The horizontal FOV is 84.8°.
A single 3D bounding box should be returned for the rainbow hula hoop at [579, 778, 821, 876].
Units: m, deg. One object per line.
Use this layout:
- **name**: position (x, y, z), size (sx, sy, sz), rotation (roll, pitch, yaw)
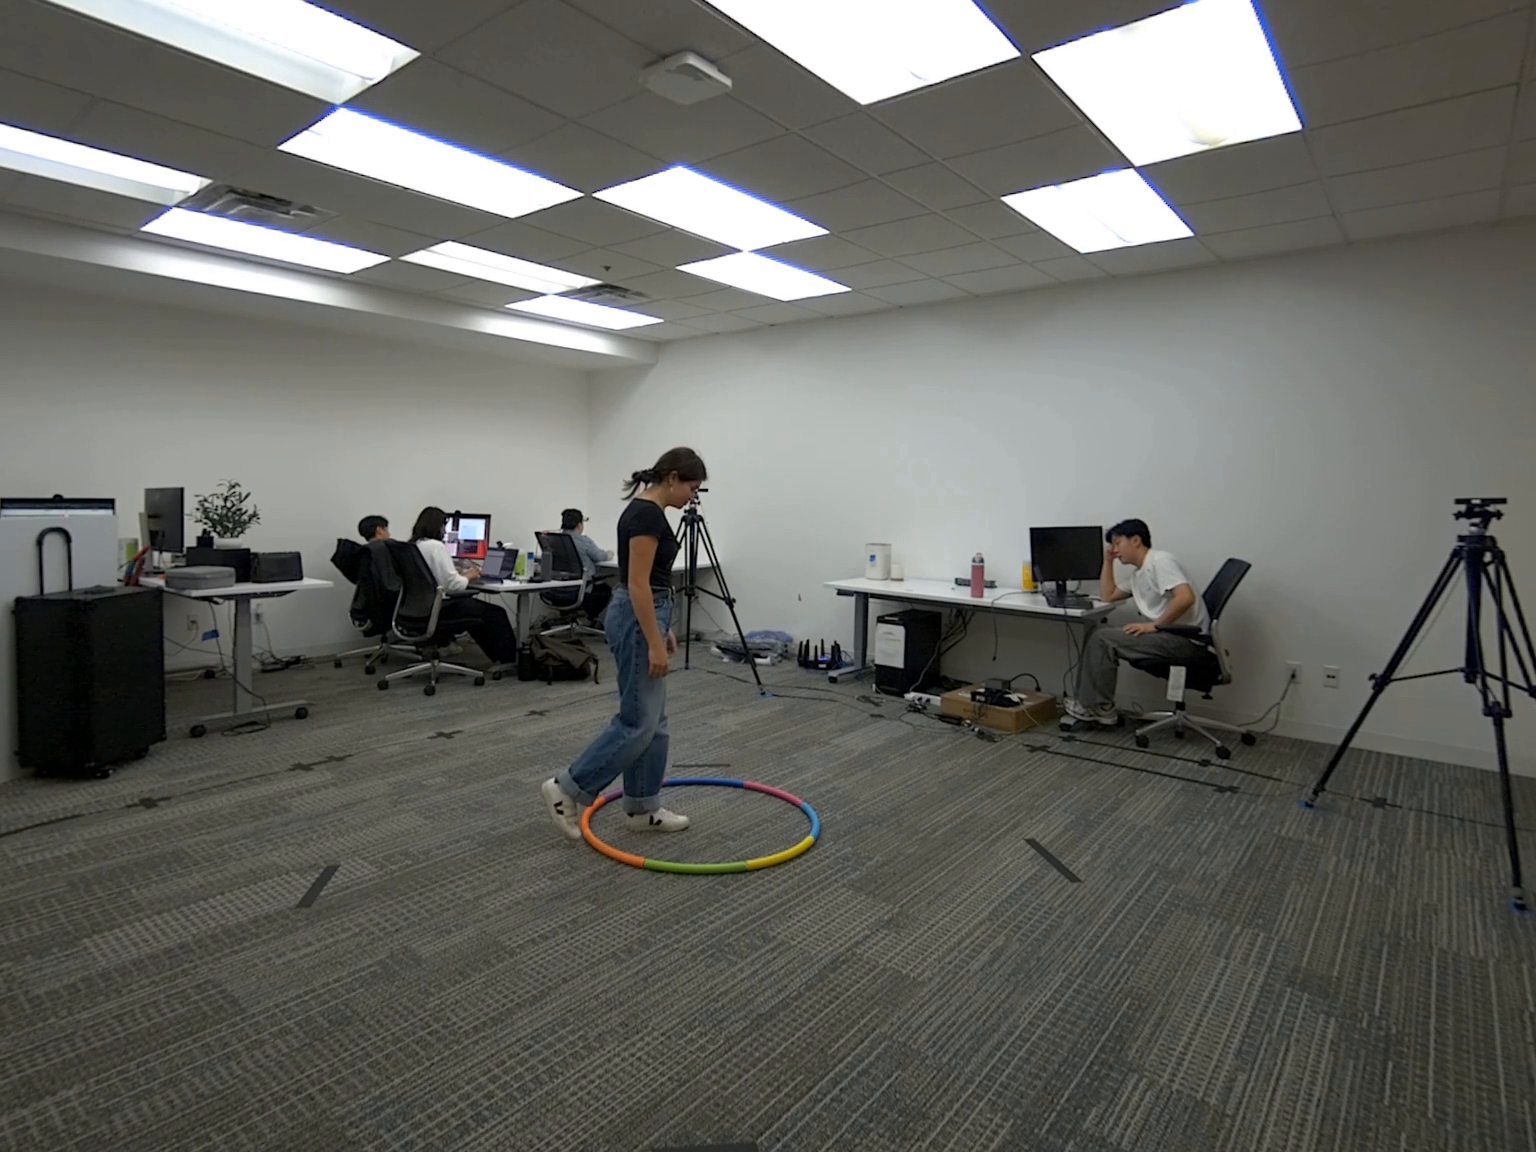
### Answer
- **rainbow hula hoop**: position (-0.278, 0.990, 3.537), size (0.978, 0.035, 0.984), rotation (1, 6, -2)
